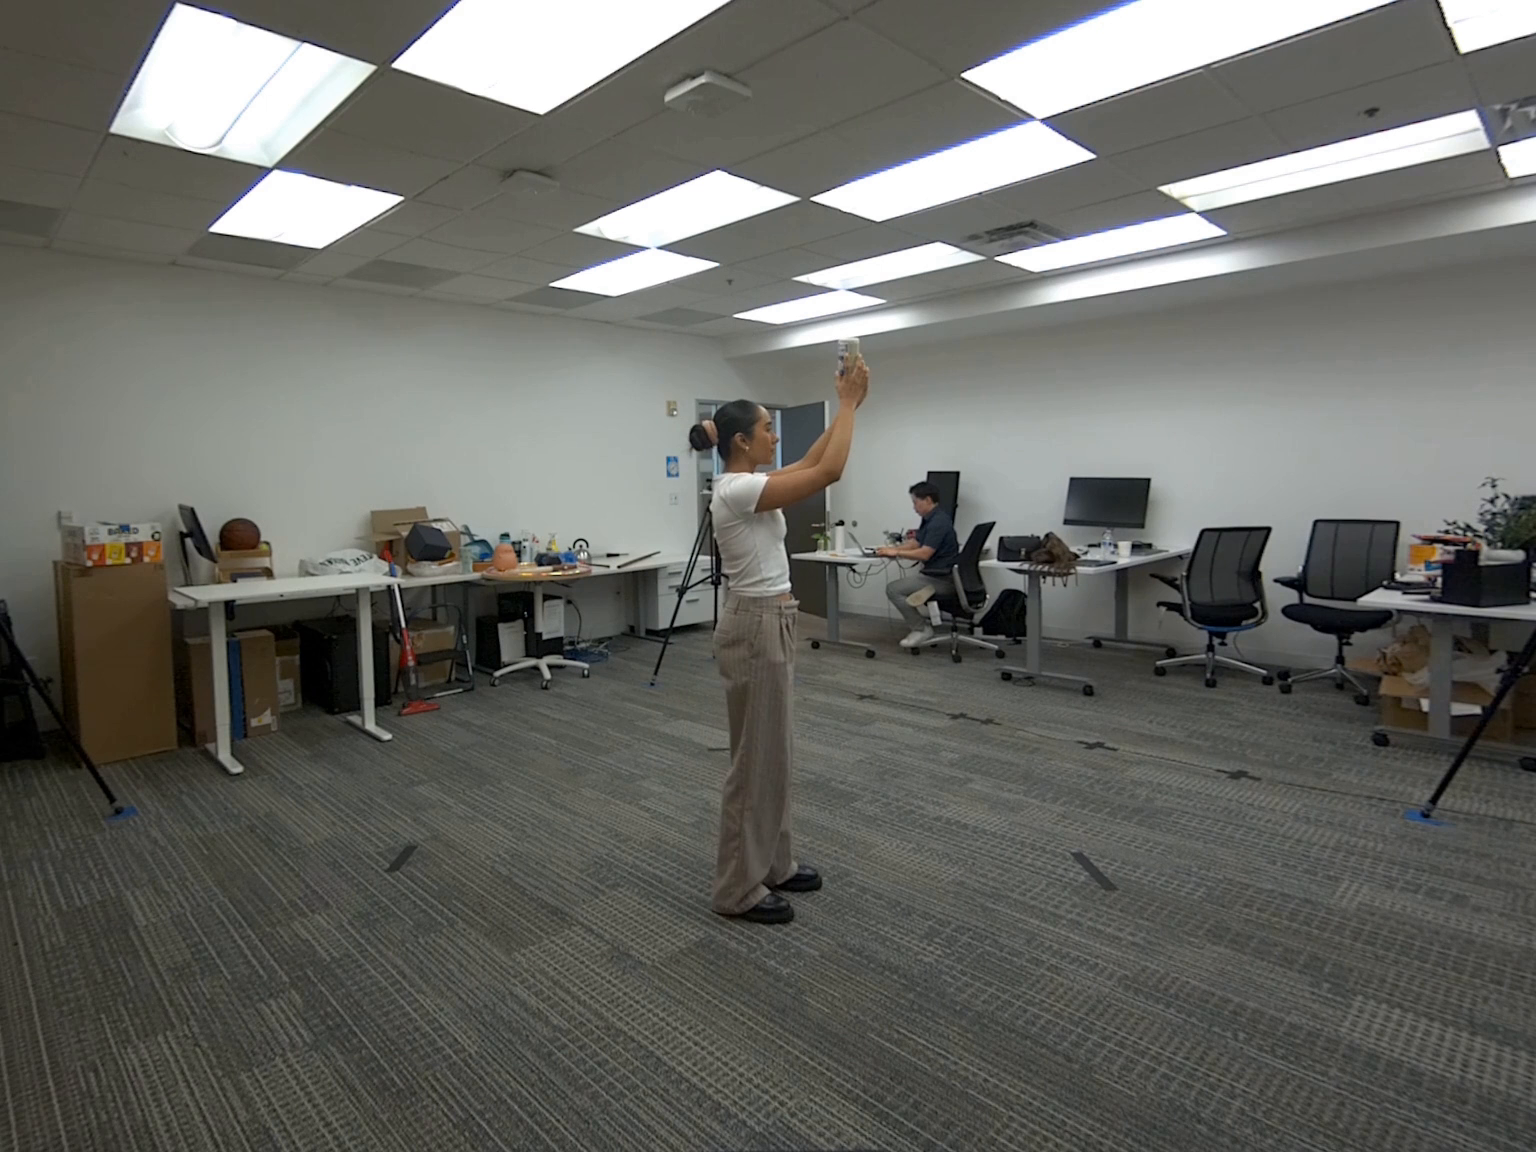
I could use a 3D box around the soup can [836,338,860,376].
[{"bbox_3d":[0.264,-0.703,2.741,0.067,0.120,0.068,4,12,-3],"label":"soup can"}]
